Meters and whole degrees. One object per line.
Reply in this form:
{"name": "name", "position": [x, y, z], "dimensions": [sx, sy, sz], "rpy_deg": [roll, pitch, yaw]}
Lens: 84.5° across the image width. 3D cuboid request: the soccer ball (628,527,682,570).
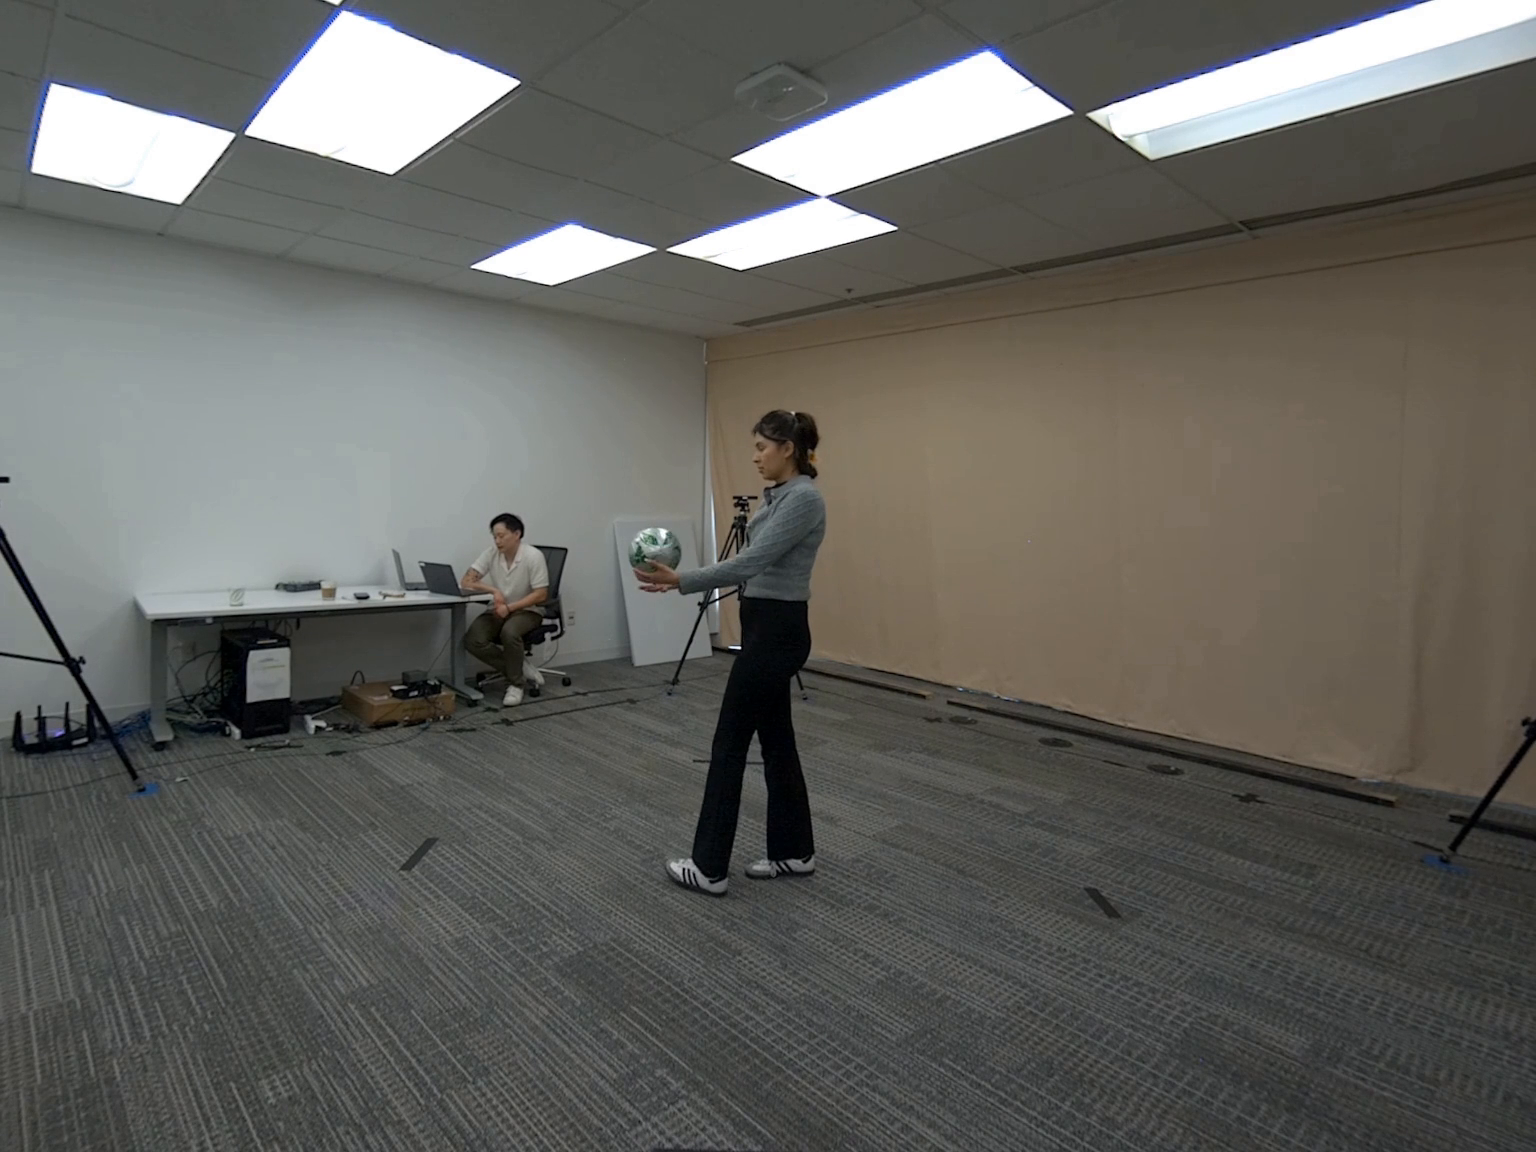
{"name": "soccer ball", "position": [-0.401, -0.068, 2.978], "dimensions": [0.187, 0.187, 0.188], "rpy_deg": [1, 4, -1]}
